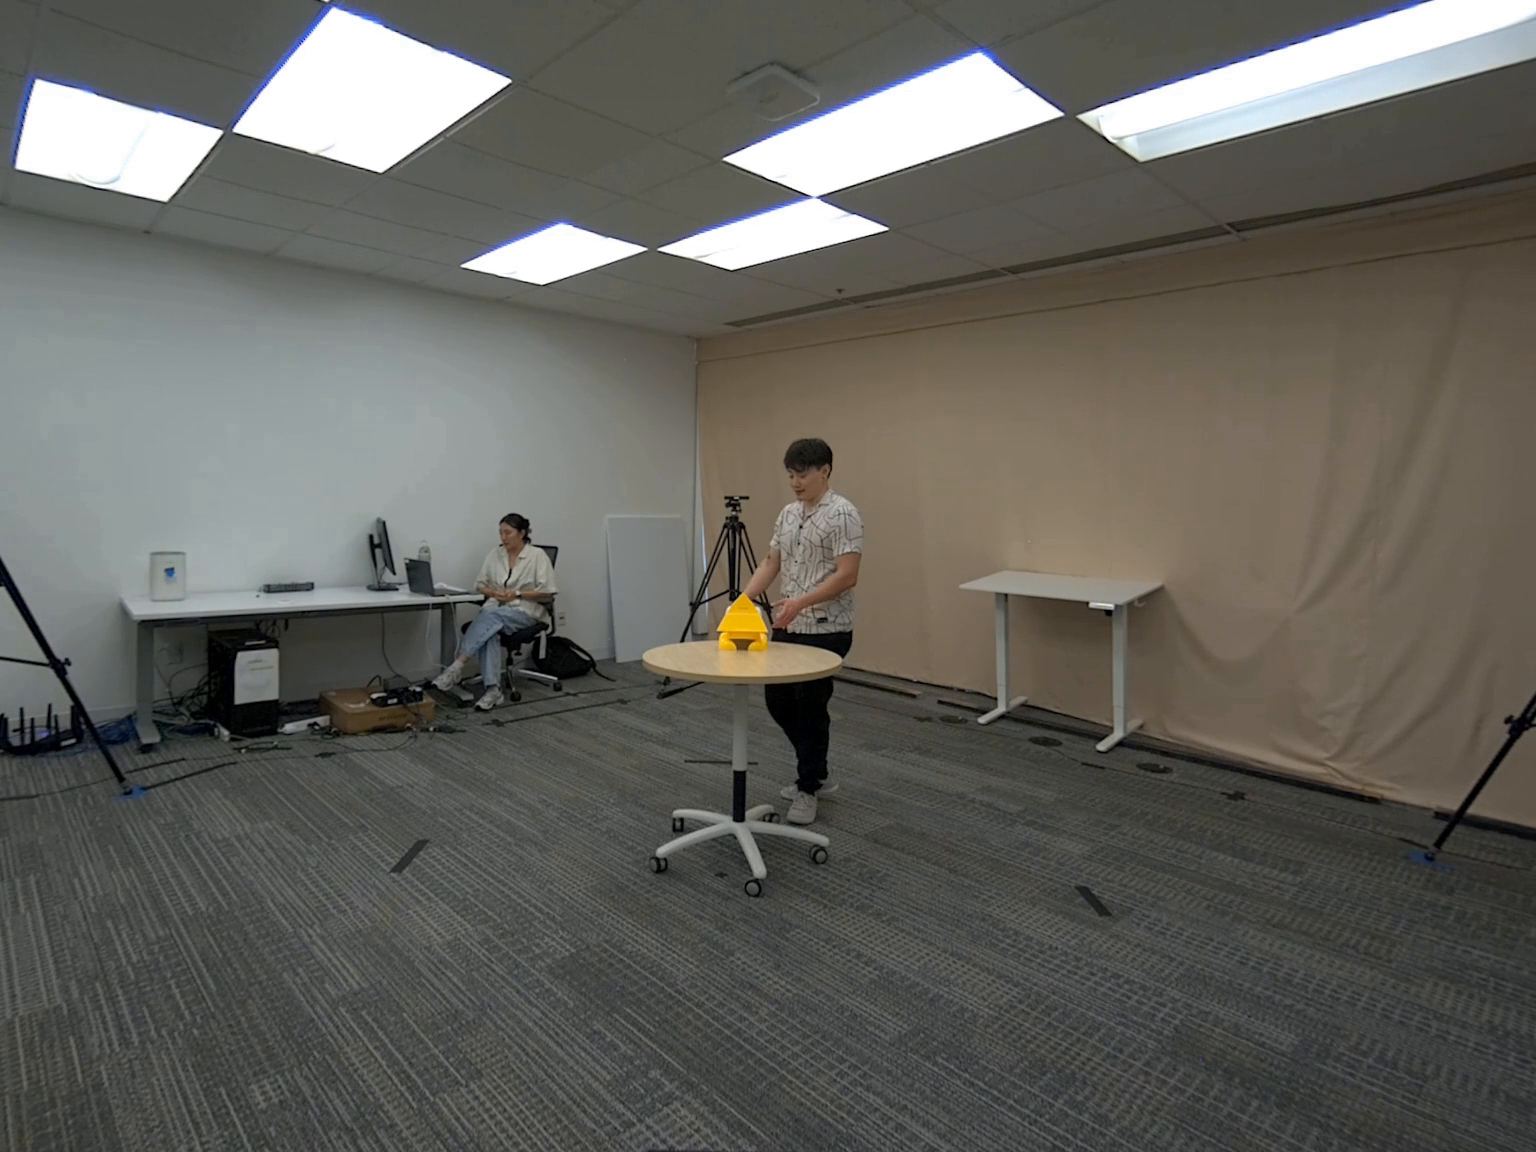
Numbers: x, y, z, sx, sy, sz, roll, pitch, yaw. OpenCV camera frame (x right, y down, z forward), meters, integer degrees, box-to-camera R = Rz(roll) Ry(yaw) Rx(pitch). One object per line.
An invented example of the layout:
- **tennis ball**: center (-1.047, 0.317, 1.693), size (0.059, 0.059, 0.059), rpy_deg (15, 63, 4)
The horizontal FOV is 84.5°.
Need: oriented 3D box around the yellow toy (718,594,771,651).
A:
- **yellow toy**: center (-0.111, 0.178, 3.444), size (0.205, 0.230, 0.193), rpy_deg (2, 5, 2)
